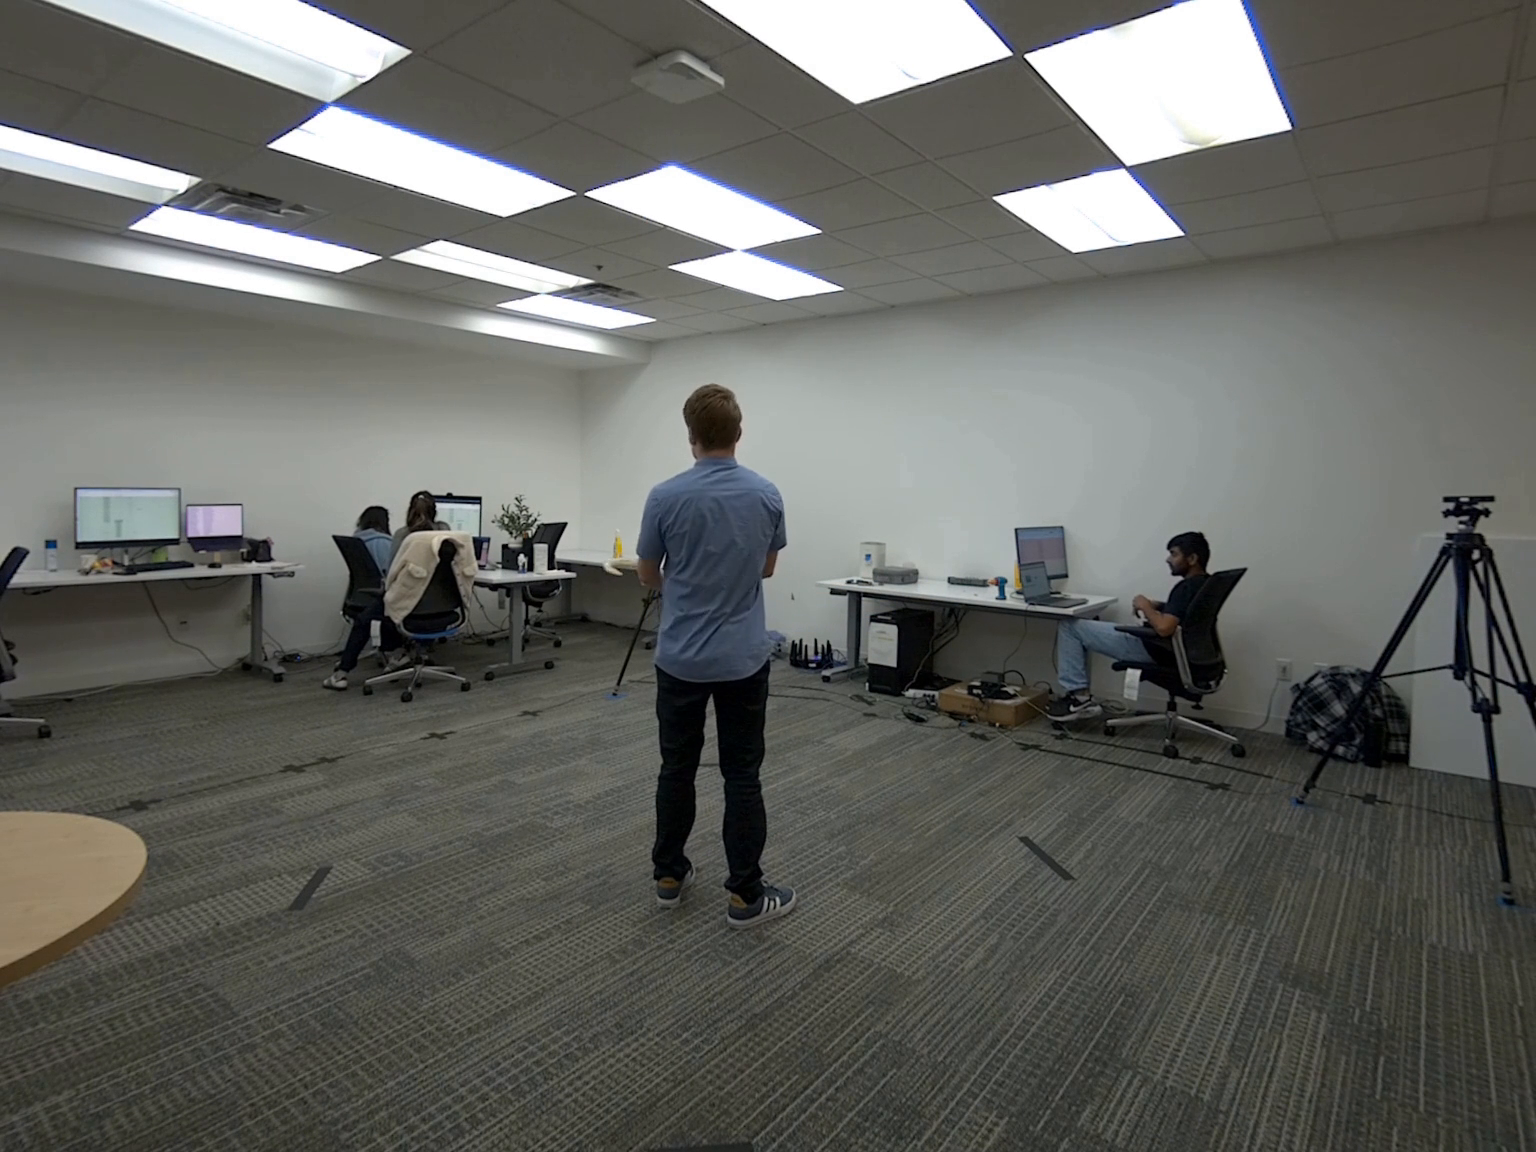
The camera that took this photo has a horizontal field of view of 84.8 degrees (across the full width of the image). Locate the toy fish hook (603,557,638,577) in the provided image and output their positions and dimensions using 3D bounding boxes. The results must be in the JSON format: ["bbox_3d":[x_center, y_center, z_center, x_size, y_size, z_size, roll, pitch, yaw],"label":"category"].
[{"bbox_3d":[-0.465,0.012,3.236,0.219,0.048,0.526,-10,19,-38],"label":"toy fish hook"}]
